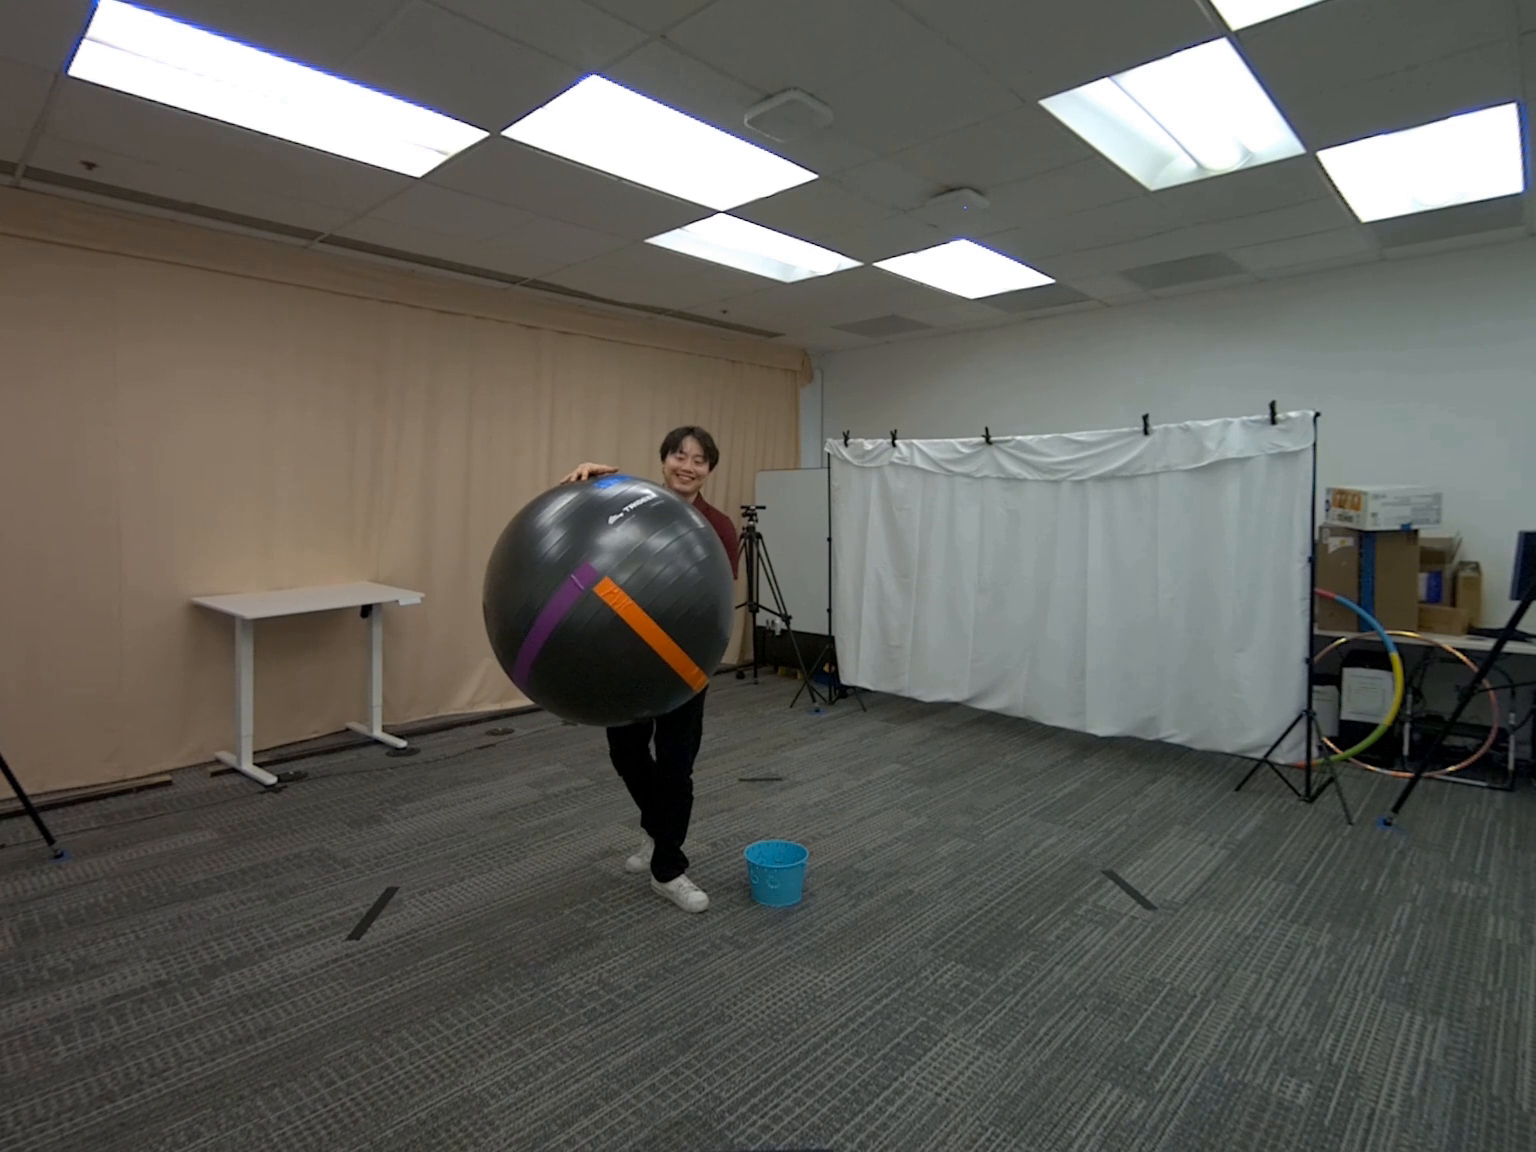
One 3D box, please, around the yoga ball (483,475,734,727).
[{"bbox_3d":[-0.486,0.076,2.554,0.757,0.756,0.761,0,4,-2],"label":"yoga ball"}]
